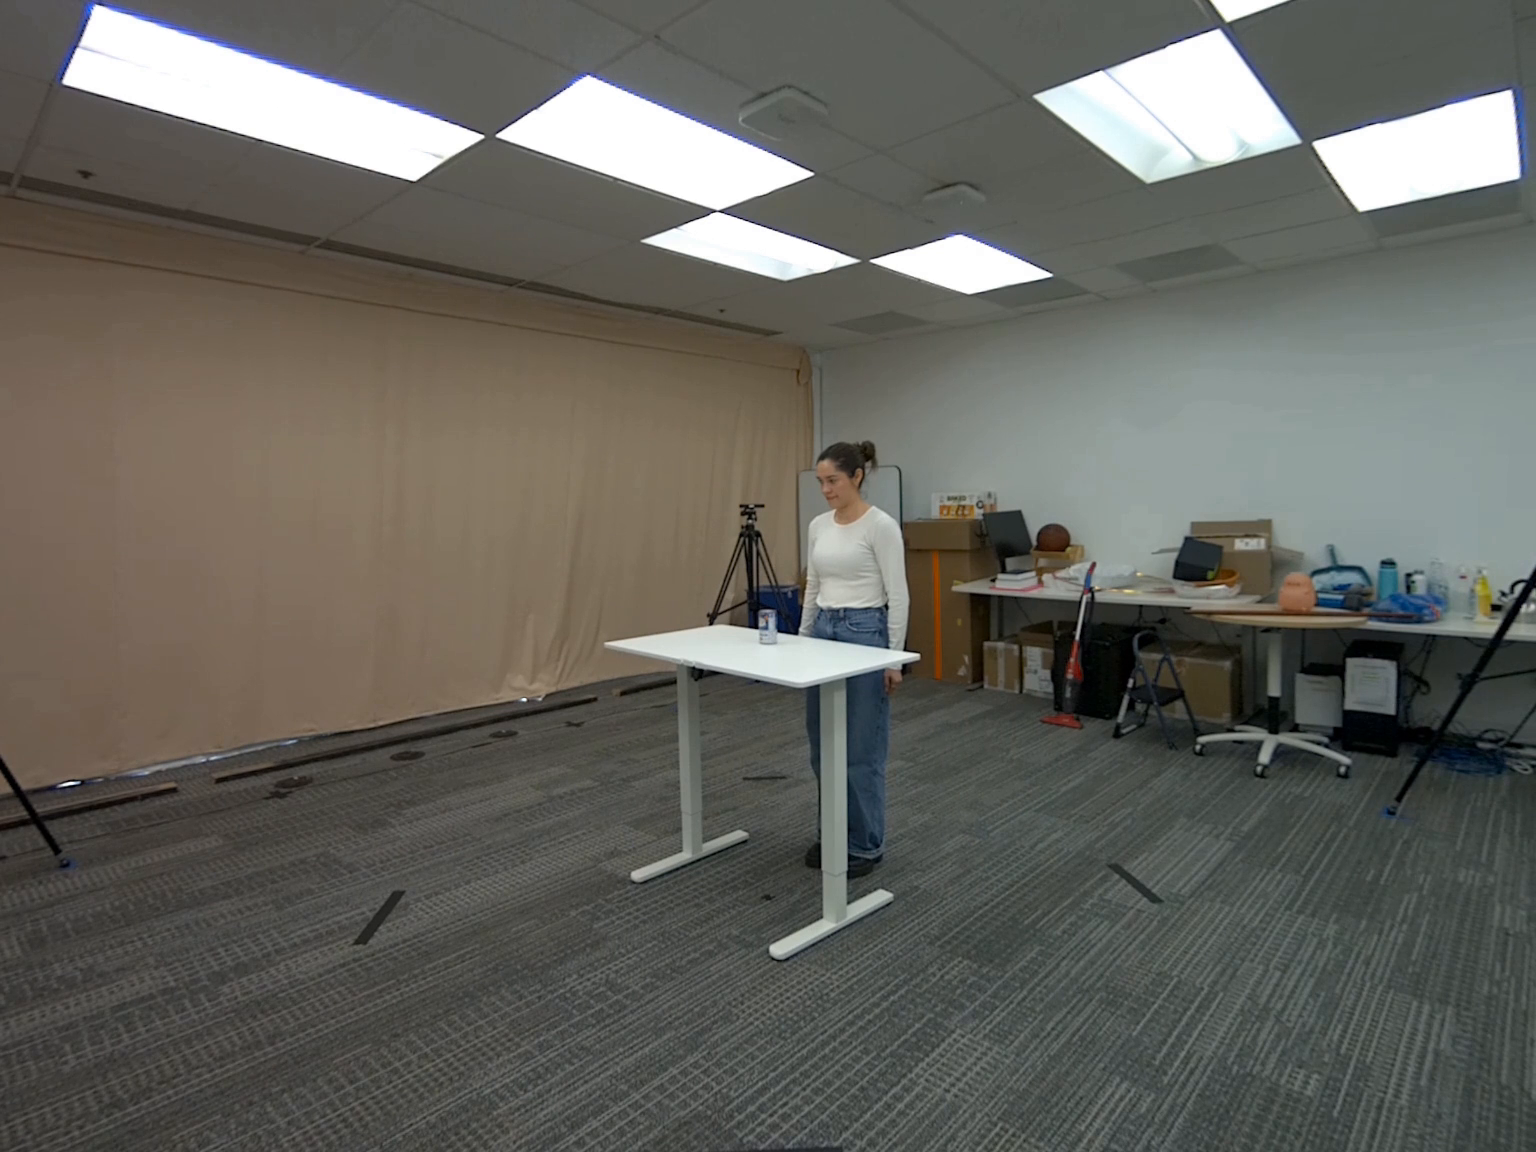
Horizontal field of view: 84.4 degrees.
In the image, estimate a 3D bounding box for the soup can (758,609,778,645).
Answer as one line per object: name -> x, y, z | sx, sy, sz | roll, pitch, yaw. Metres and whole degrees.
soup can -> 0.007, 0.184, 3.099 | 0.067, 0.121, 0.067 | 0, 4, -2
